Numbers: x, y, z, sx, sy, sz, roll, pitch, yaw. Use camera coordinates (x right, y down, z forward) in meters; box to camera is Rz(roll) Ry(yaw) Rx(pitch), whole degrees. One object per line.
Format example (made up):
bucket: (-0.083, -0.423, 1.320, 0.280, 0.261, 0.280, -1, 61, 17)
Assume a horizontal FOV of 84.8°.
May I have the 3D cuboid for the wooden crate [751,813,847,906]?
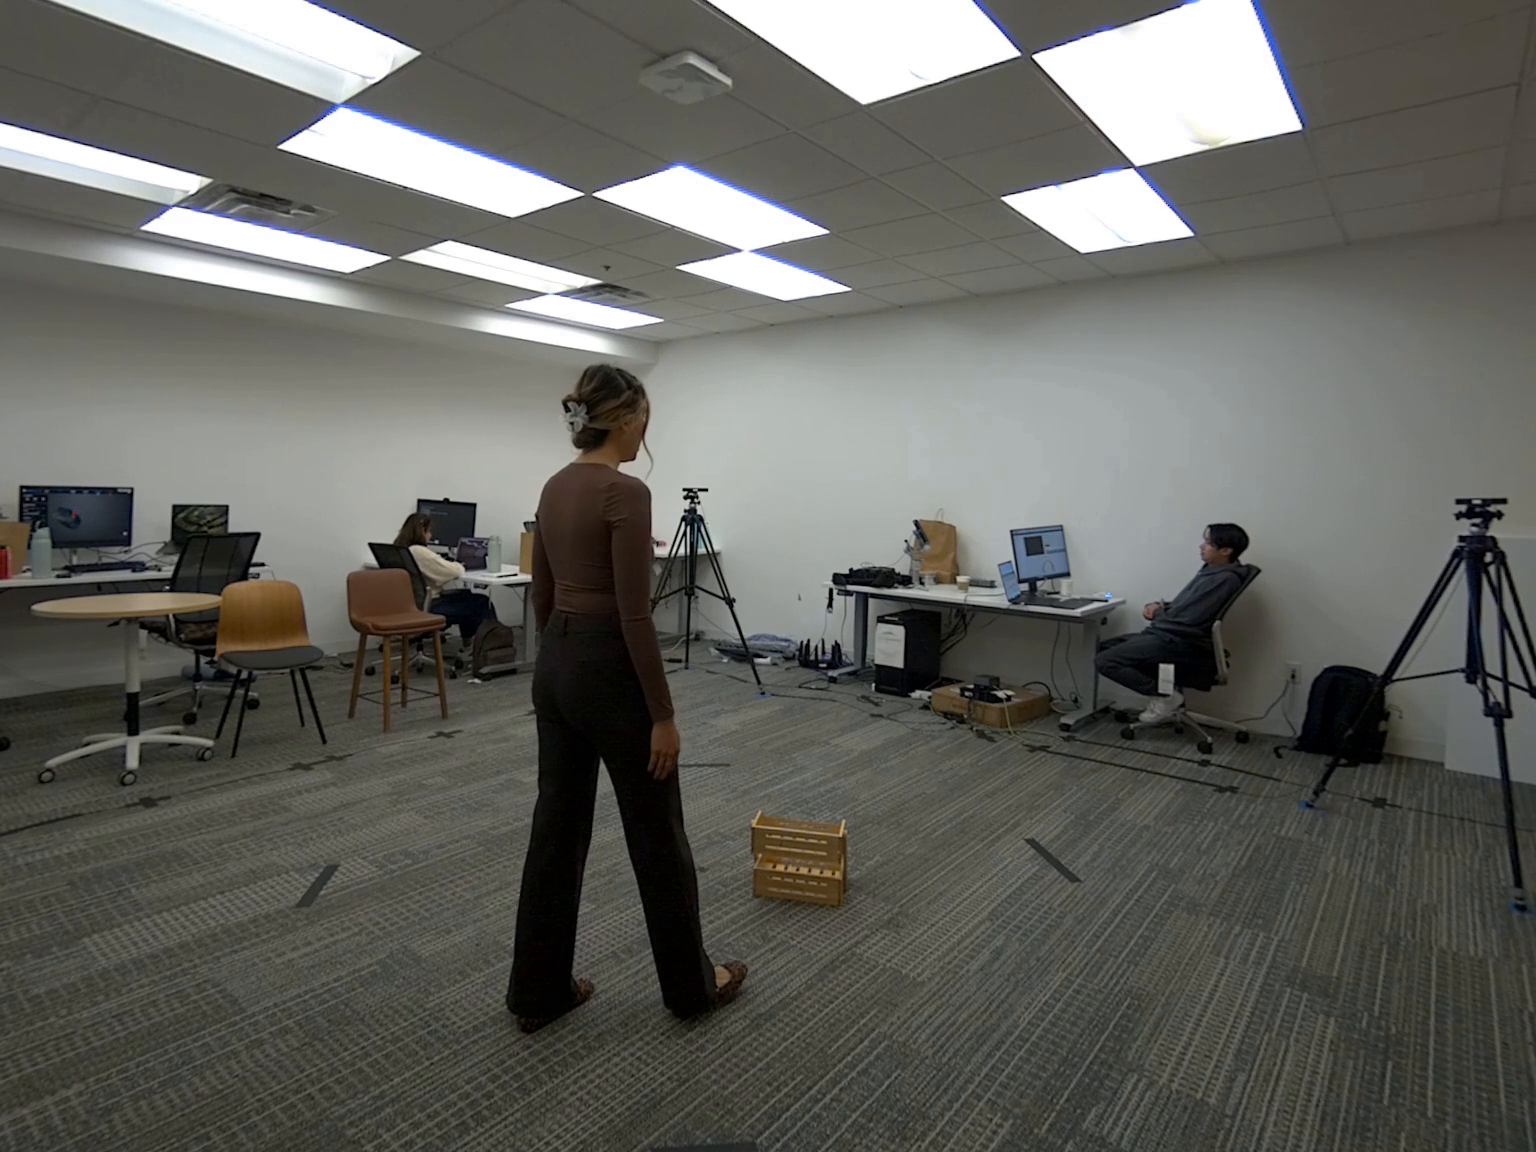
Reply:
wooden crate: (0.107, 0.956, 2.978, 0.328, 0.272, 0.299, 2, 4, 10)
